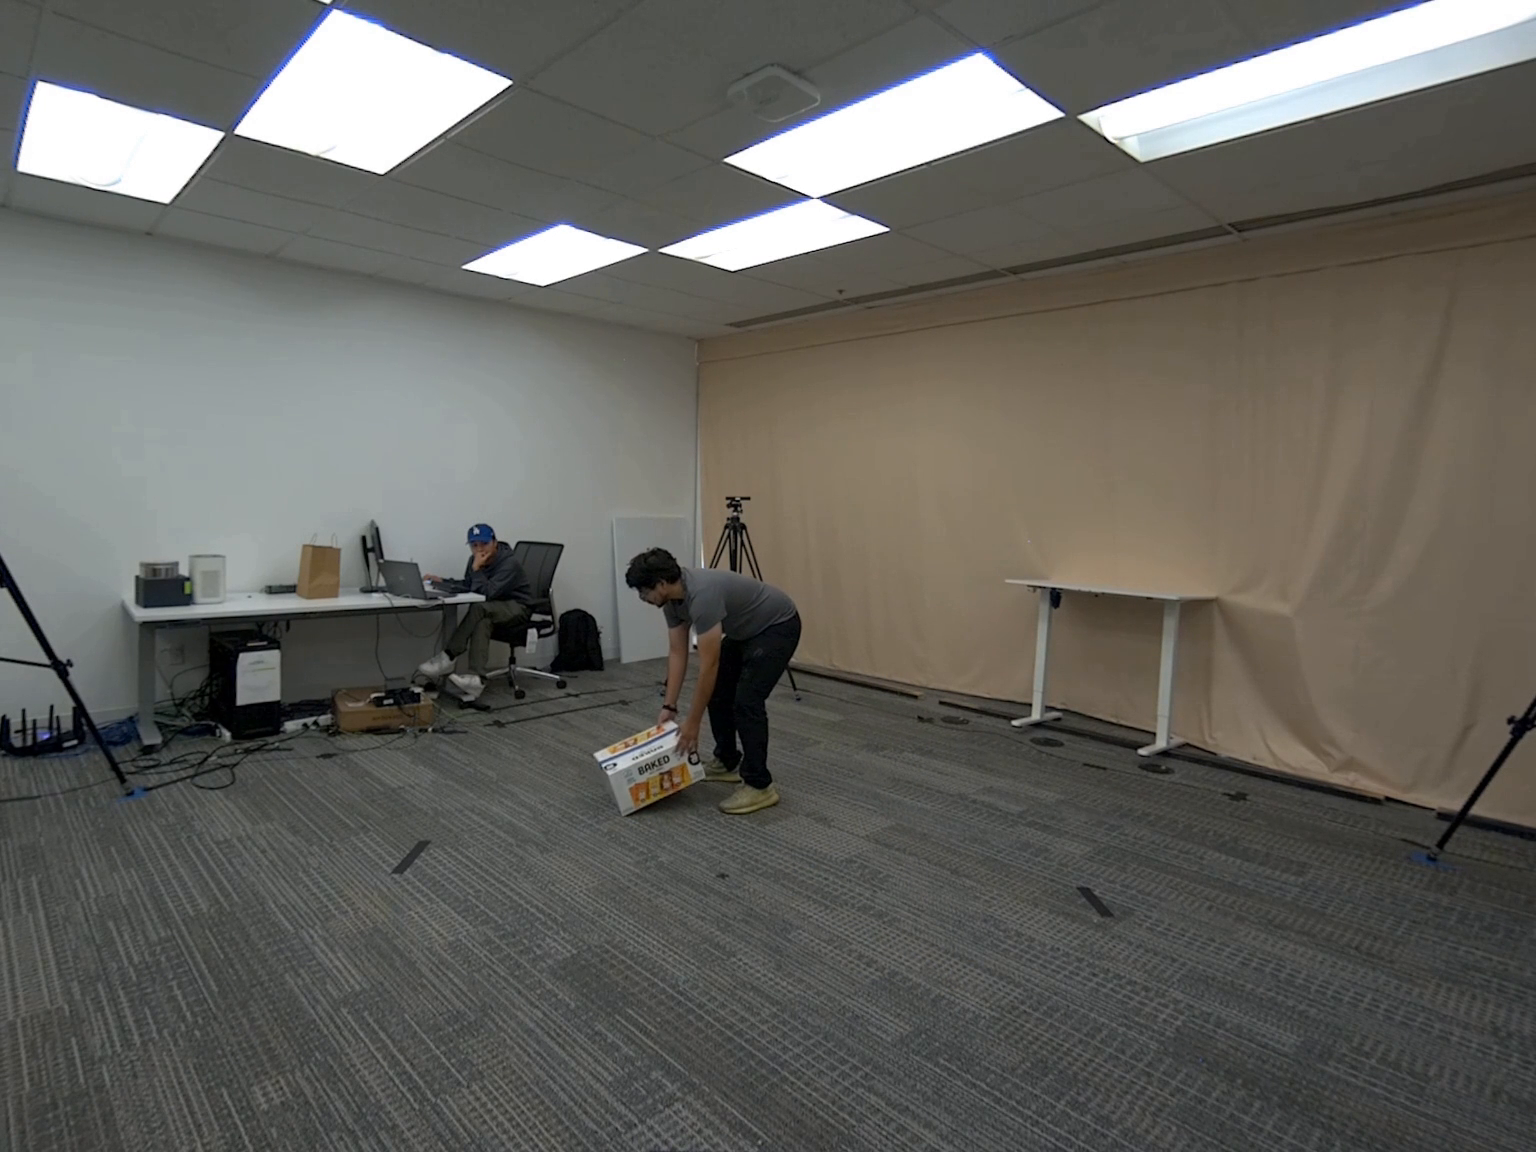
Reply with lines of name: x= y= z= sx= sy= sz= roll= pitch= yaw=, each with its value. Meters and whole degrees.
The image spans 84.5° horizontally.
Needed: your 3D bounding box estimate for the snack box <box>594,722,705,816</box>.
snack box: x=-0.559 y=0.871 z=3.856 sx=0.401 sy=0.204 sz=0.346 roll=-22 pitch=11 yaw=-19
